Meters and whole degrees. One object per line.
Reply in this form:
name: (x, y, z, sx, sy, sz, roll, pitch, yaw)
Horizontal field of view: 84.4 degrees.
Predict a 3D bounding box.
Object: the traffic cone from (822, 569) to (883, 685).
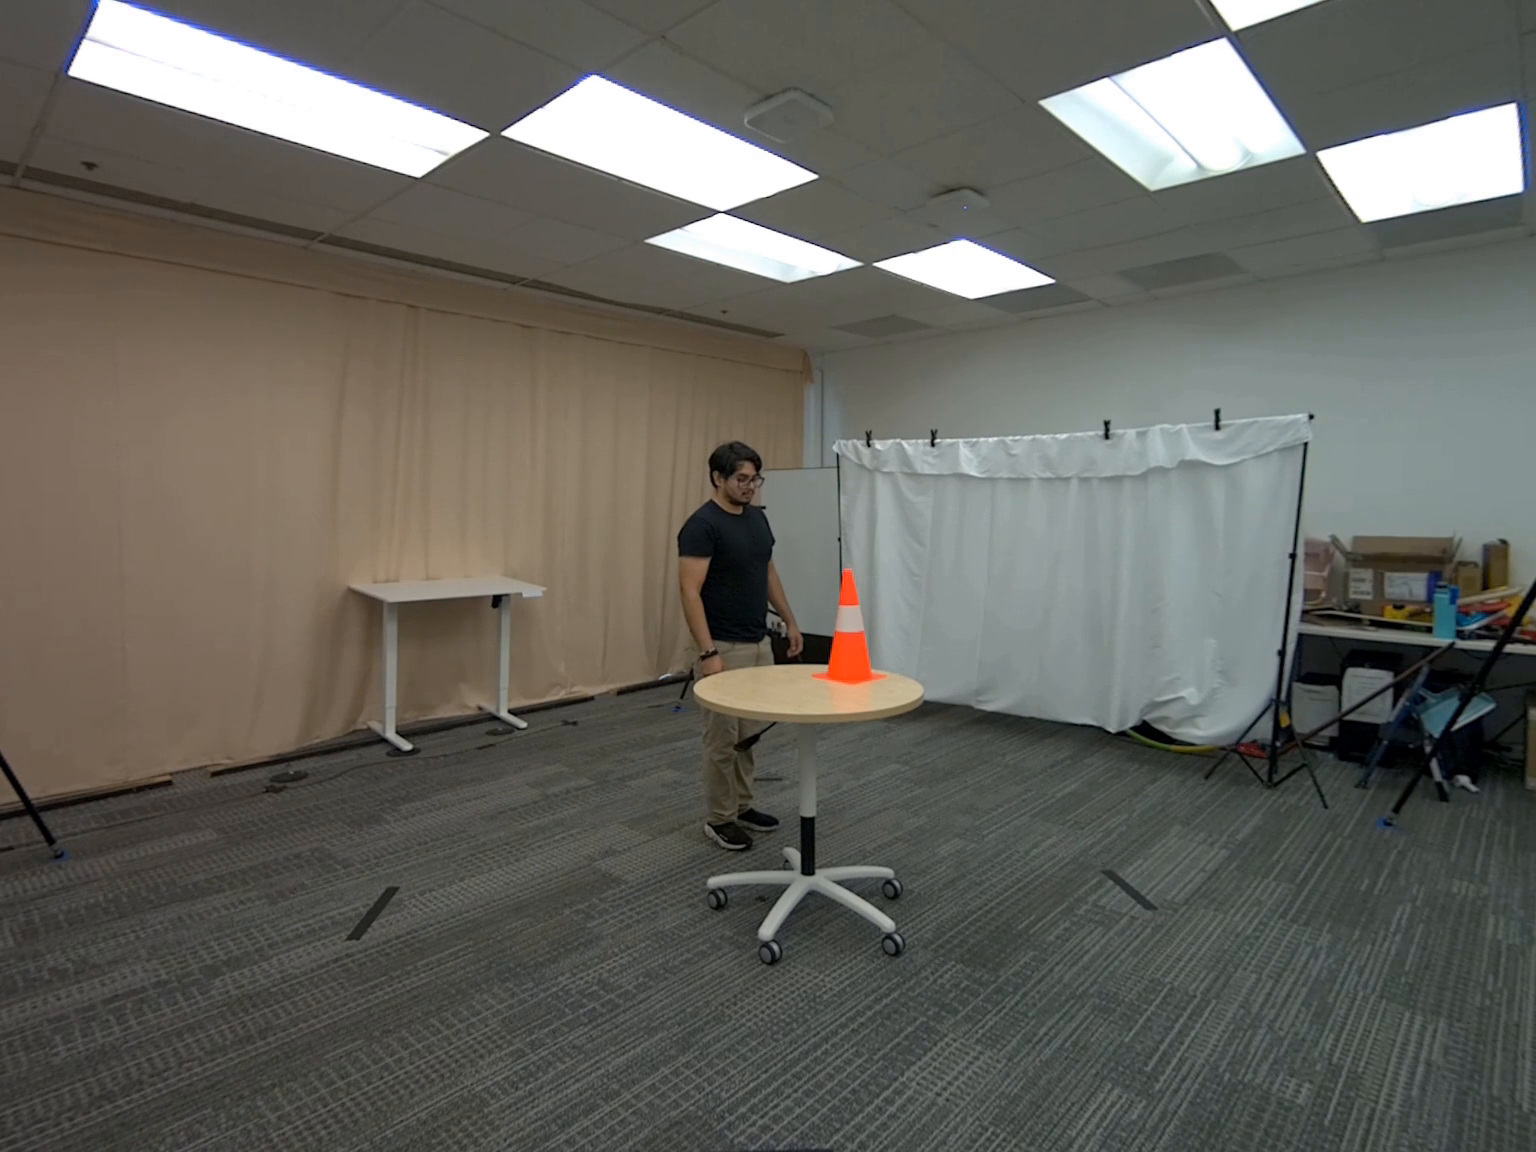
traffic cone: (0.292, 0.170, 2.977, 0.211, 0.383, 0.197, 1, 4, 35)
